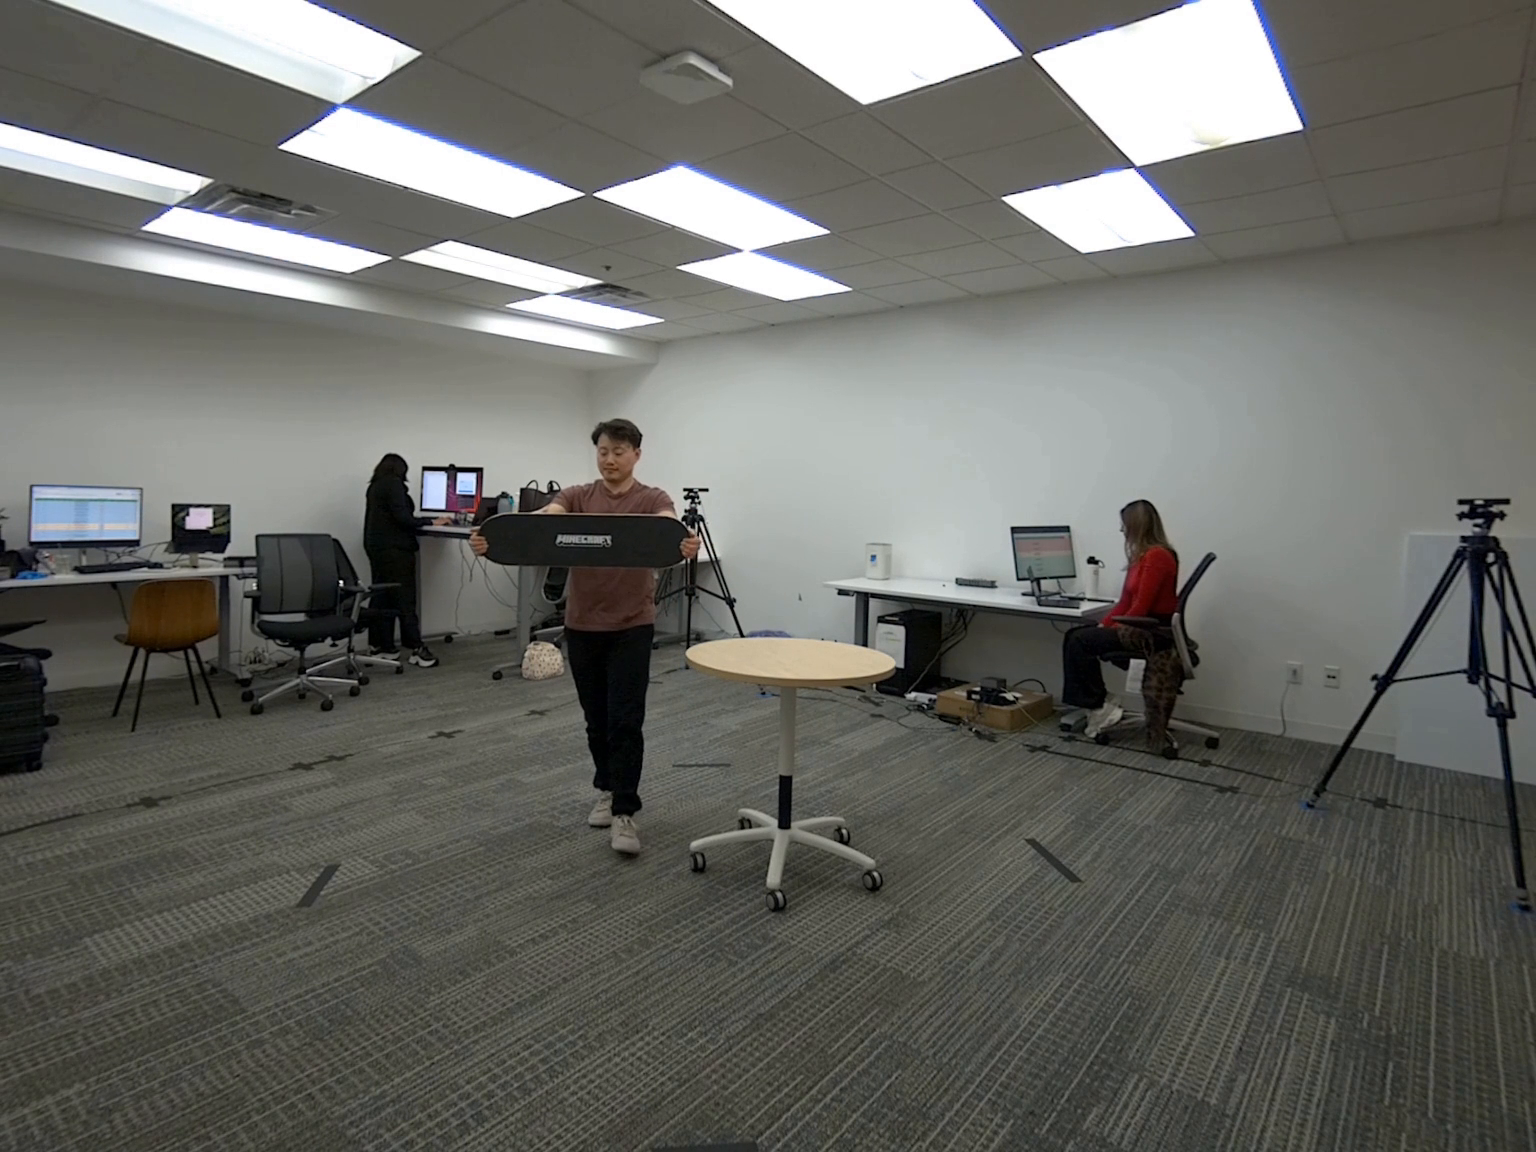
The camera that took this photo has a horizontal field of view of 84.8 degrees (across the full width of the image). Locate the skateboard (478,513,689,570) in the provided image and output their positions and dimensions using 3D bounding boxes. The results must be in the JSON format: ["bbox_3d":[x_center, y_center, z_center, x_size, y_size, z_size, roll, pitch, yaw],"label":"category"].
[{"bbox_3d":[-0.678,-0.136,3.107,0.790,0.193,0.110,2,2,5],"label":"skateboard"}]
